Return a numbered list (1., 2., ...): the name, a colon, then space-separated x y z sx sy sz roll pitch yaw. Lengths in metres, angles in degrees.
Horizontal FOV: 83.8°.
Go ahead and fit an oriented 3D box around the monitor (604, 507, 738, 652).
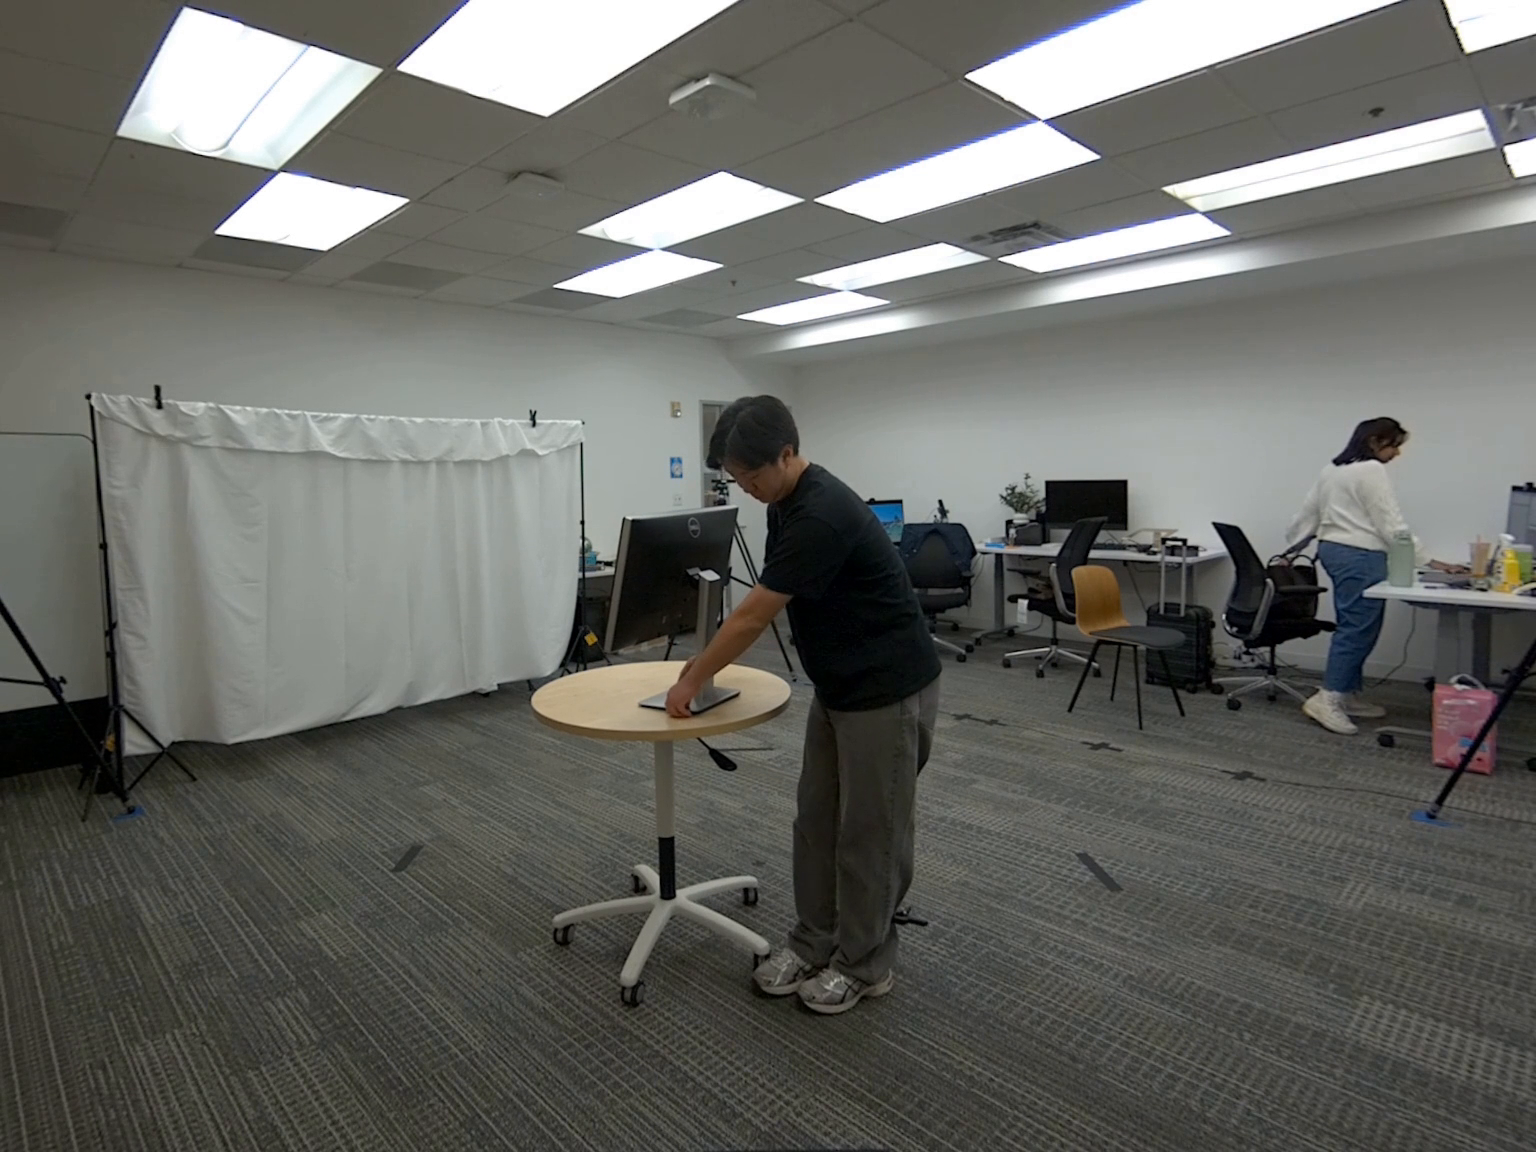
1. monitor: -0.225 0.094 2.412 0.228 0.564 0.549 -1 5 32
